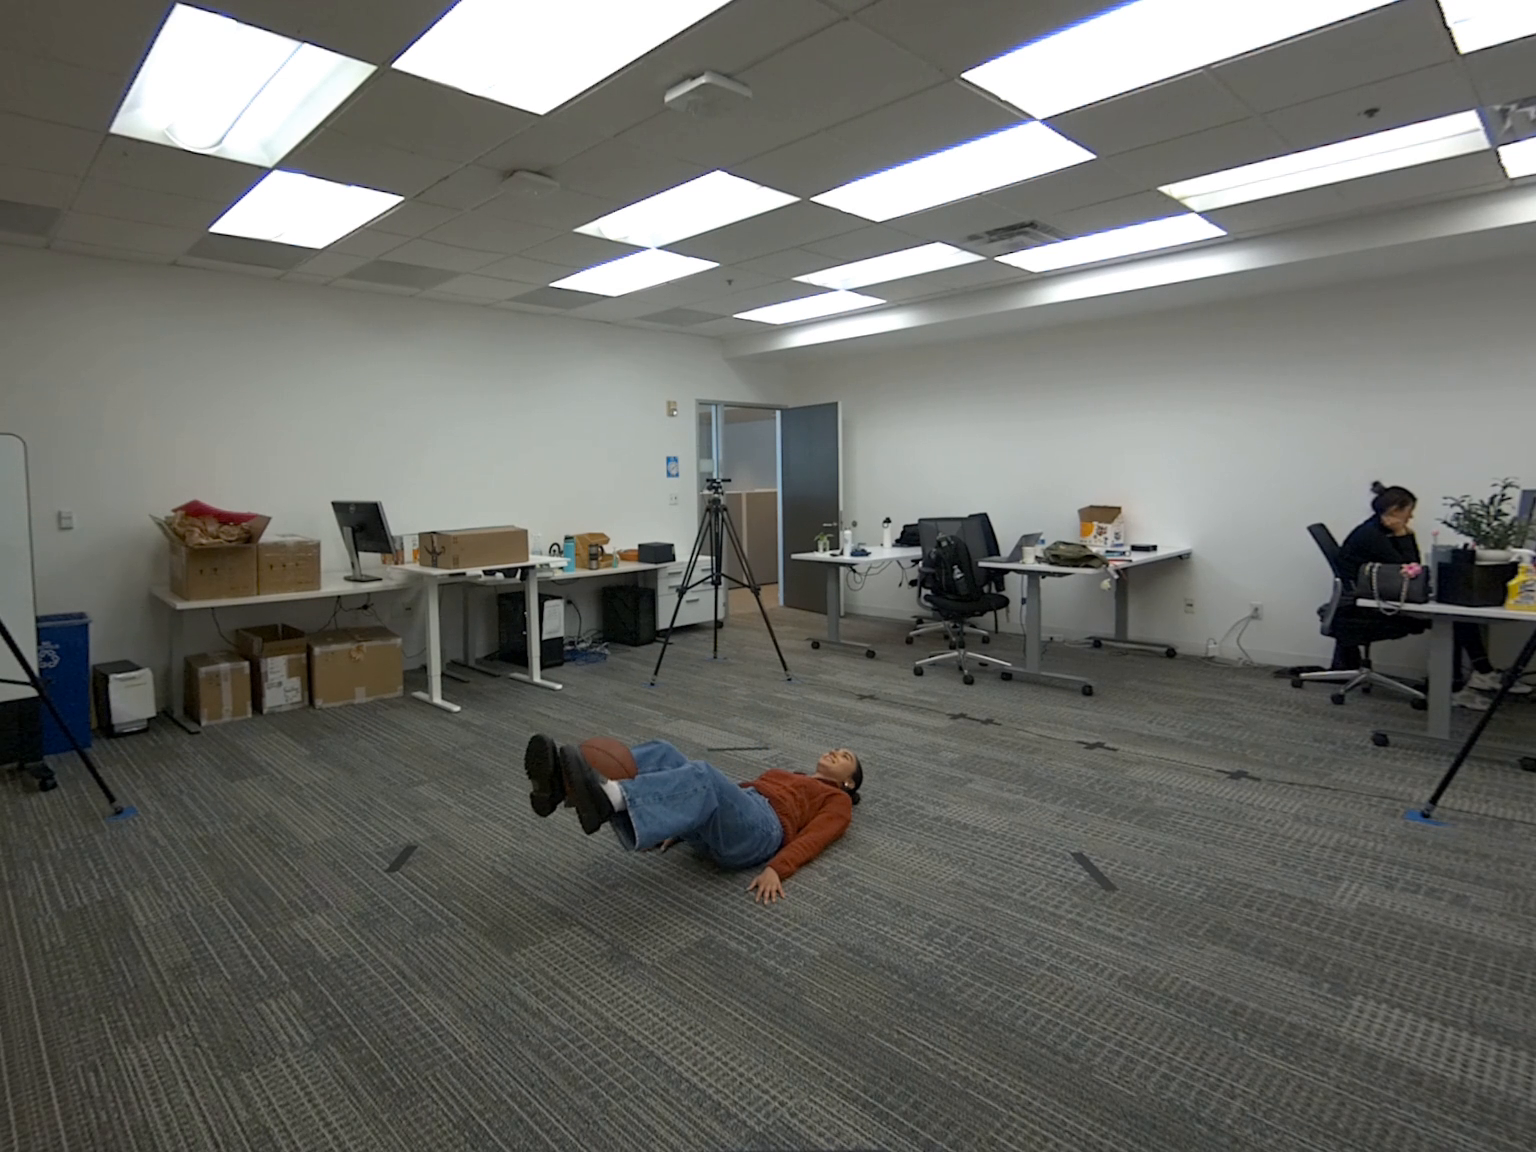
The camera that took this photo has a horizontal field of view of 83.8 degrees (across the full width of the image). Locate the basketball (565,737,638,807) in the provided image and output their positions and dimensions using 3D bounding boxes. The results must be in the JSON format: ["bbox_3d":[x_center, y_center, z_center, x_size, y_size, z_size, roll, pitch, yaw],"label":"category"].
[{"bbox_3d":[-0.526,0.633,2.706,0.236,0.235,0.237,-1,5,-2],"label":"basketball"}]
